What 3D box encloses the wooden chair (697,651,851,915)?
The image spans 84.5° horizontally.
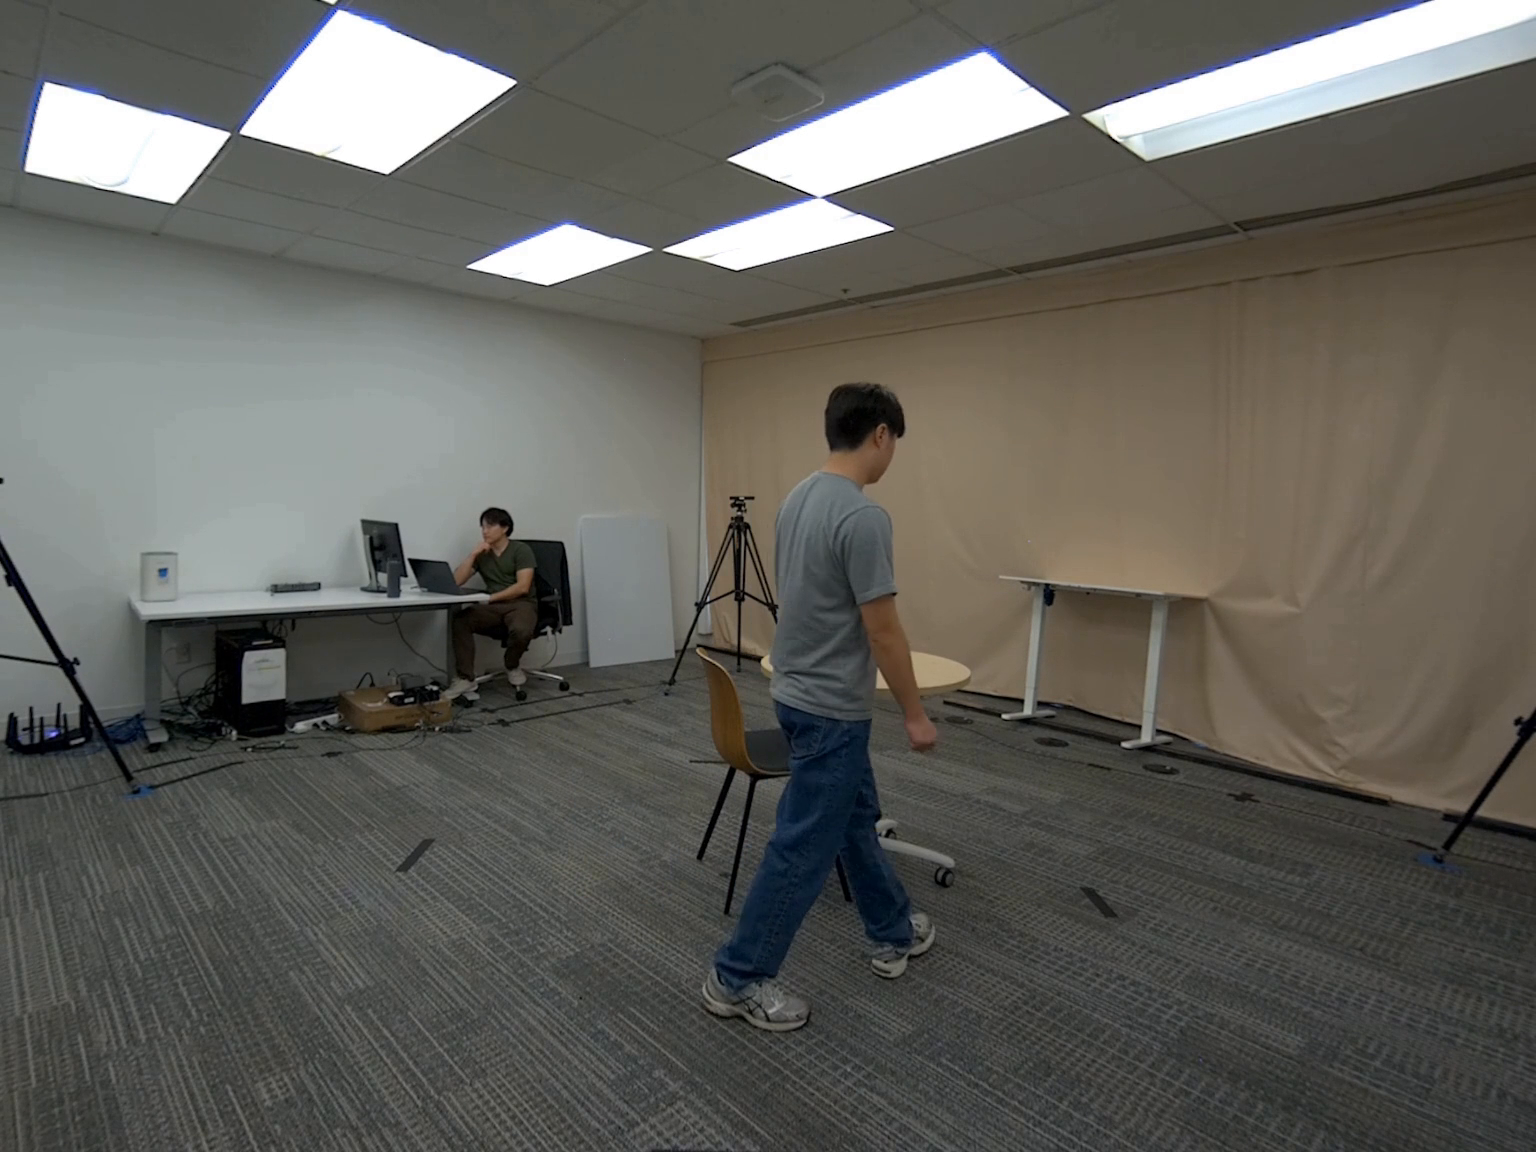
[{"bbox_3d":[0.016,0.682,3.044,0.517,0.874,0.485,-4,5,-15],"label":"wooden chair"}]
